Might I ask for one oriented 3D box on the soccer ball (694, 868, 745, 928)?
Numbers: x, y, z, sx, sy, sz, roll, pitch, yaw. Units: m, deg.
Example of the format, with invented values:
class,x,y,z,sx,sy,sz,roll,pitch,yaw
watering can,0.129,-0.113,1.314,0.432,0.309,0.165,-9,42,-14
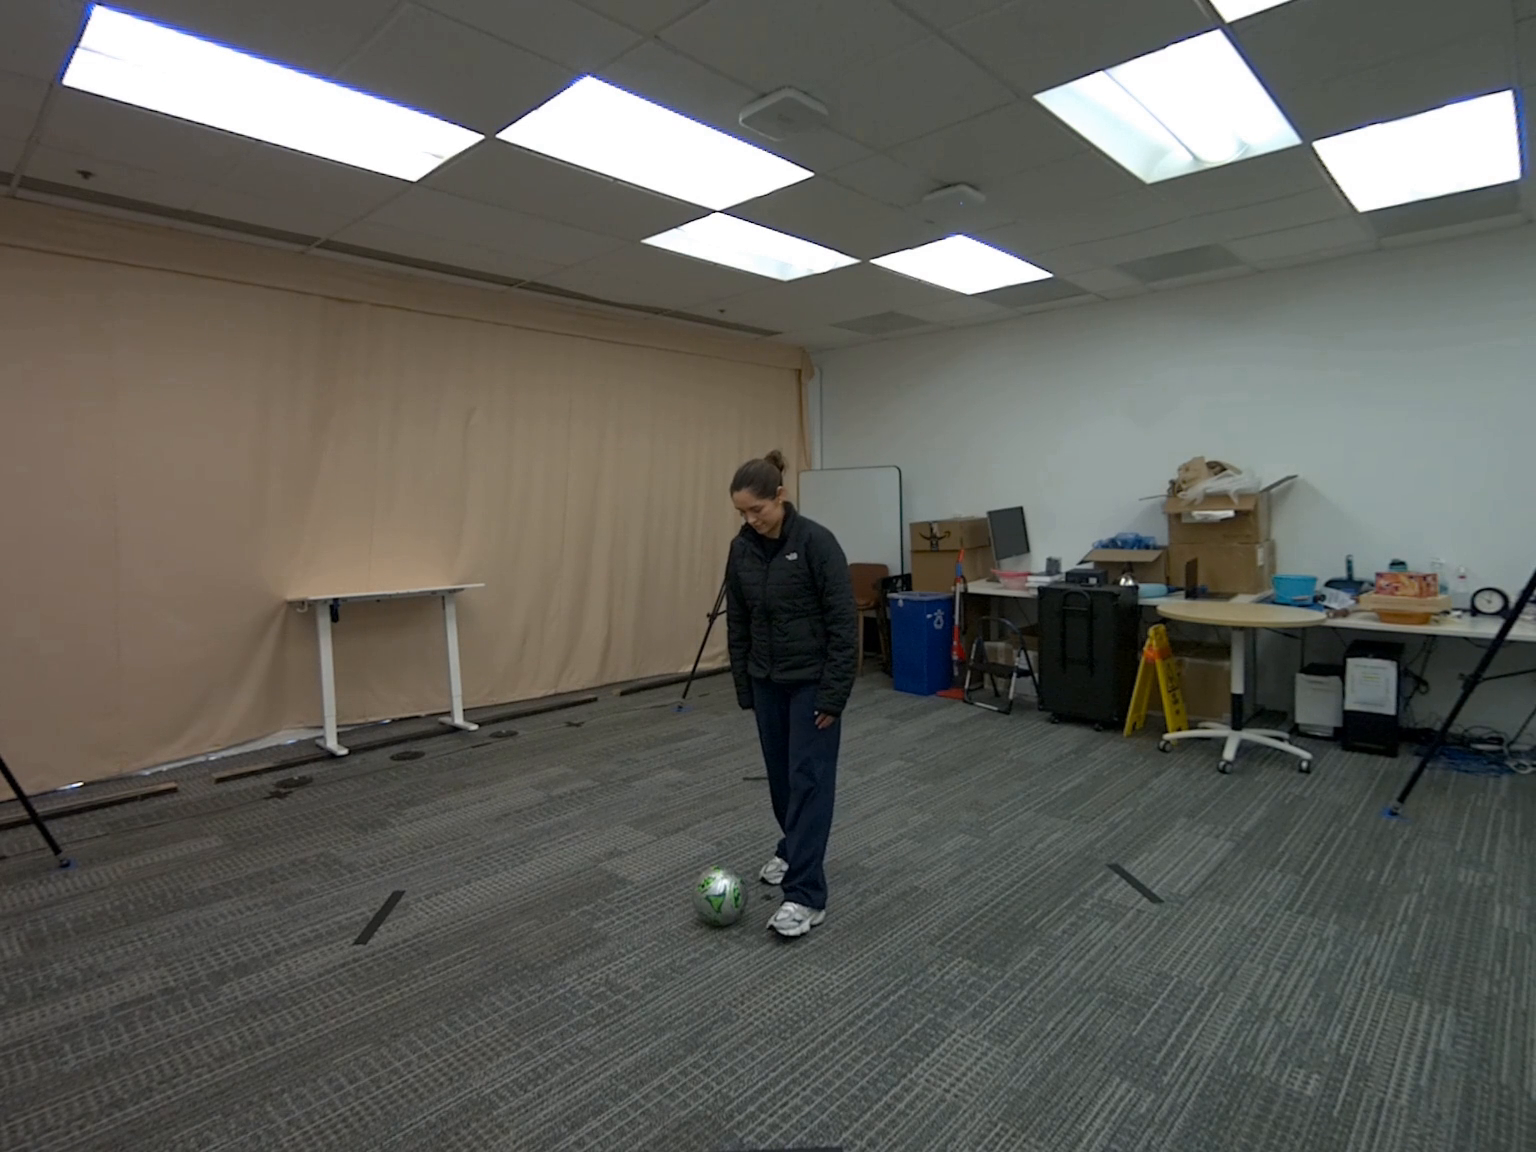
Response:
class,x,y,z,sx,sy,sz,roll,pitch,yaw
soccer ball,-0.157,1.067,2.803,0.187,0.187,0.188,-1,4,-2
